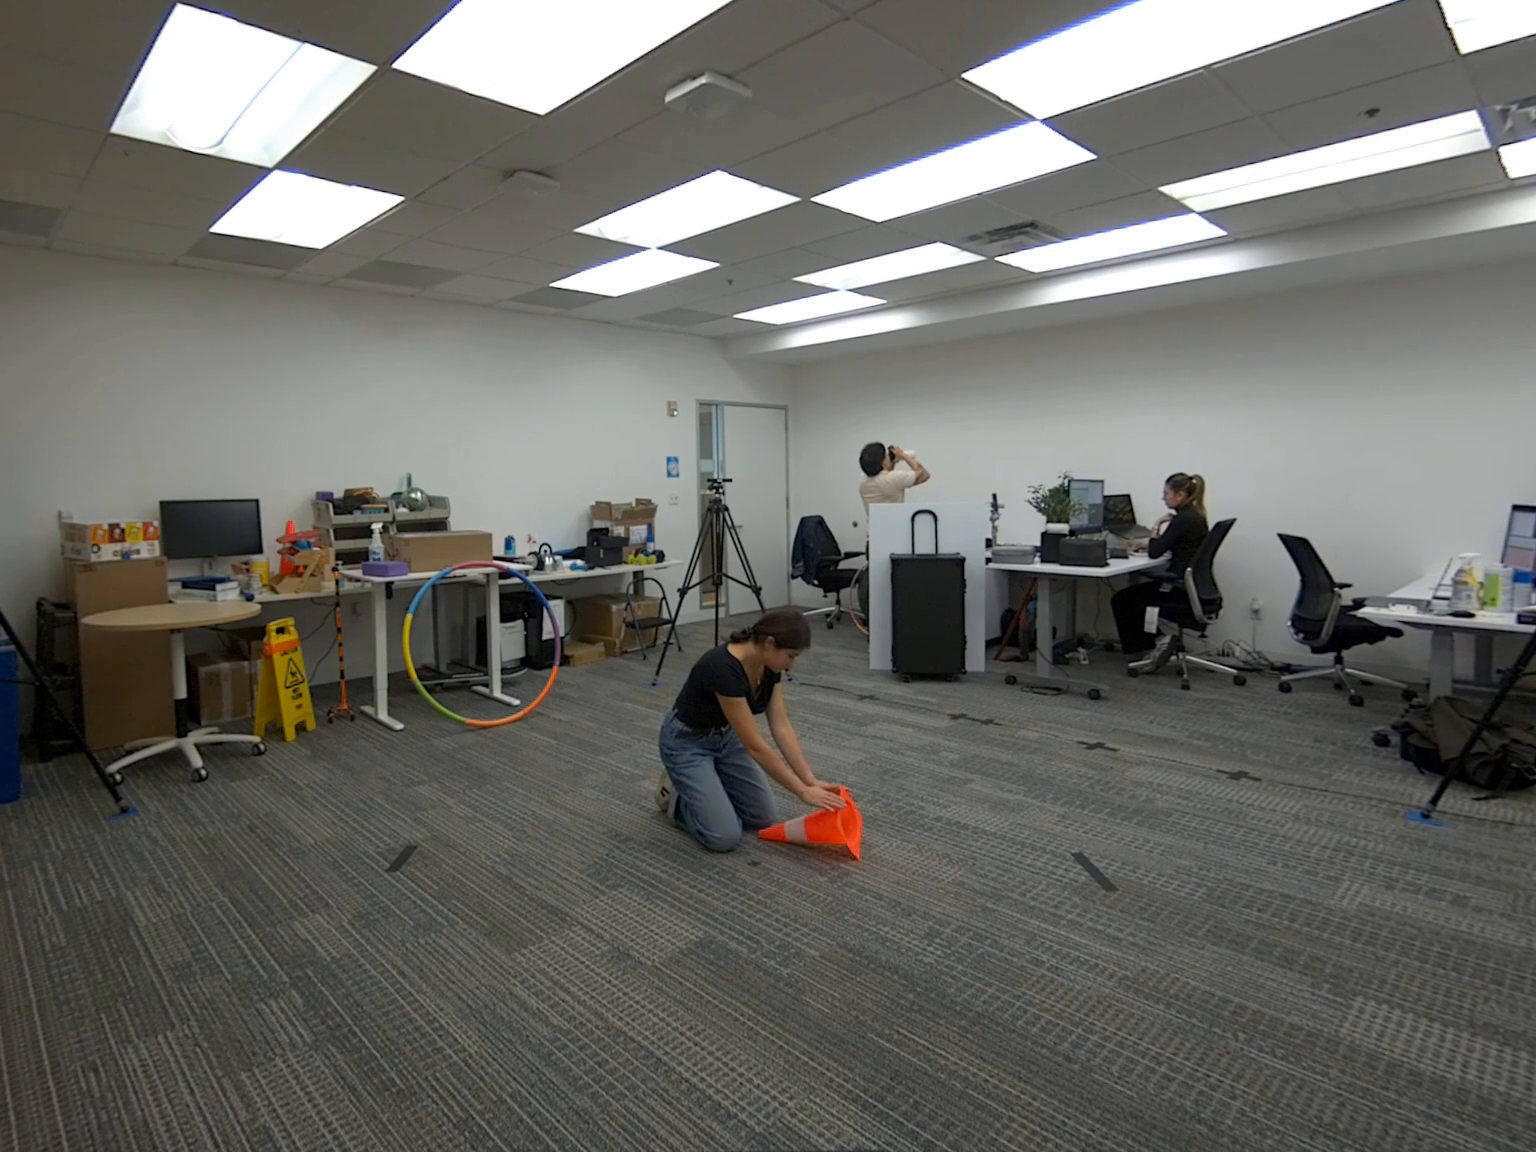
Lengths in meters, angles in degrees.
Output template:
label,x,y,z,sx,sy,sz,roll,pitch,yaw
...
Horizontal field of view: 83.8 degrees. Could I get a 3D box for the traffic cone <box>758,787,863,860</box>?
label,x,y,z,sx,sy,sz,roll,pitch,yaw
traffic cone,0.144,0.976,3.247,0.389,0.199,0.206,-20,28,24
